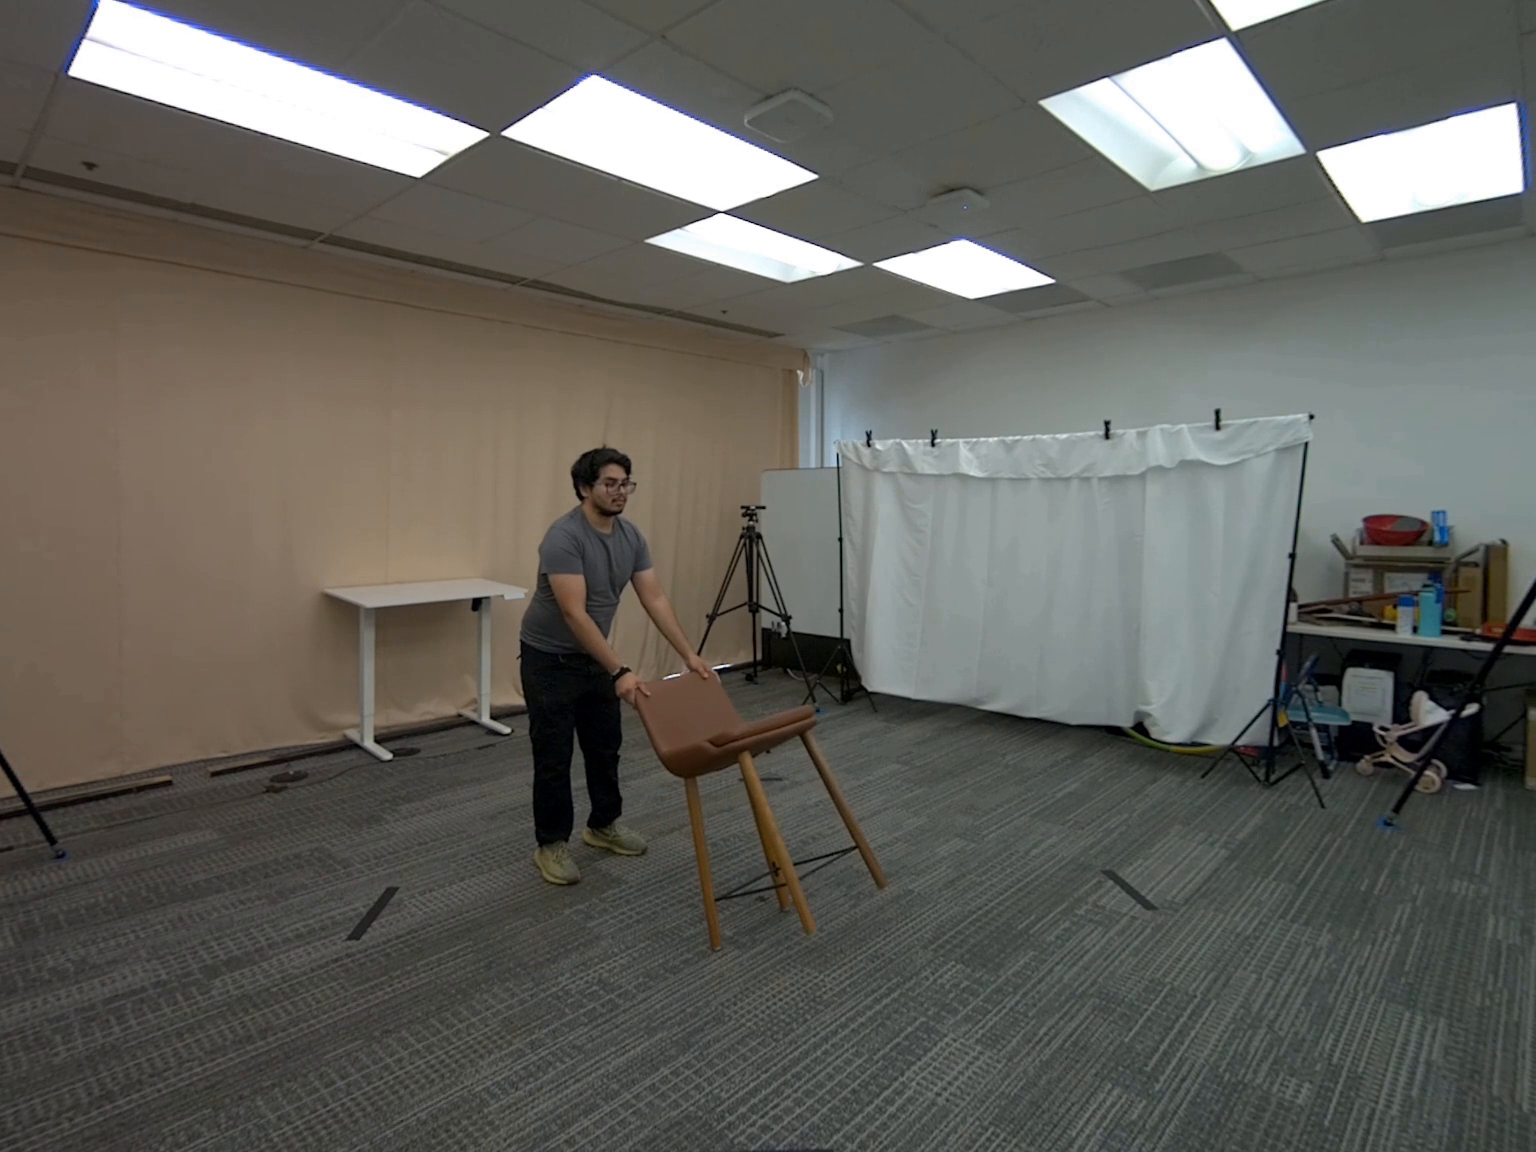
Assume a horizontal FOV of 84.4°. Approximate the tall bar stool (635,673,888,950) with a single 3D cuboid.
[{"bbox_3d":[-0.056,0.678,2.753,0.443,0.903,0.475,-4,-23,-48],"label":"tall bar stool"}]
